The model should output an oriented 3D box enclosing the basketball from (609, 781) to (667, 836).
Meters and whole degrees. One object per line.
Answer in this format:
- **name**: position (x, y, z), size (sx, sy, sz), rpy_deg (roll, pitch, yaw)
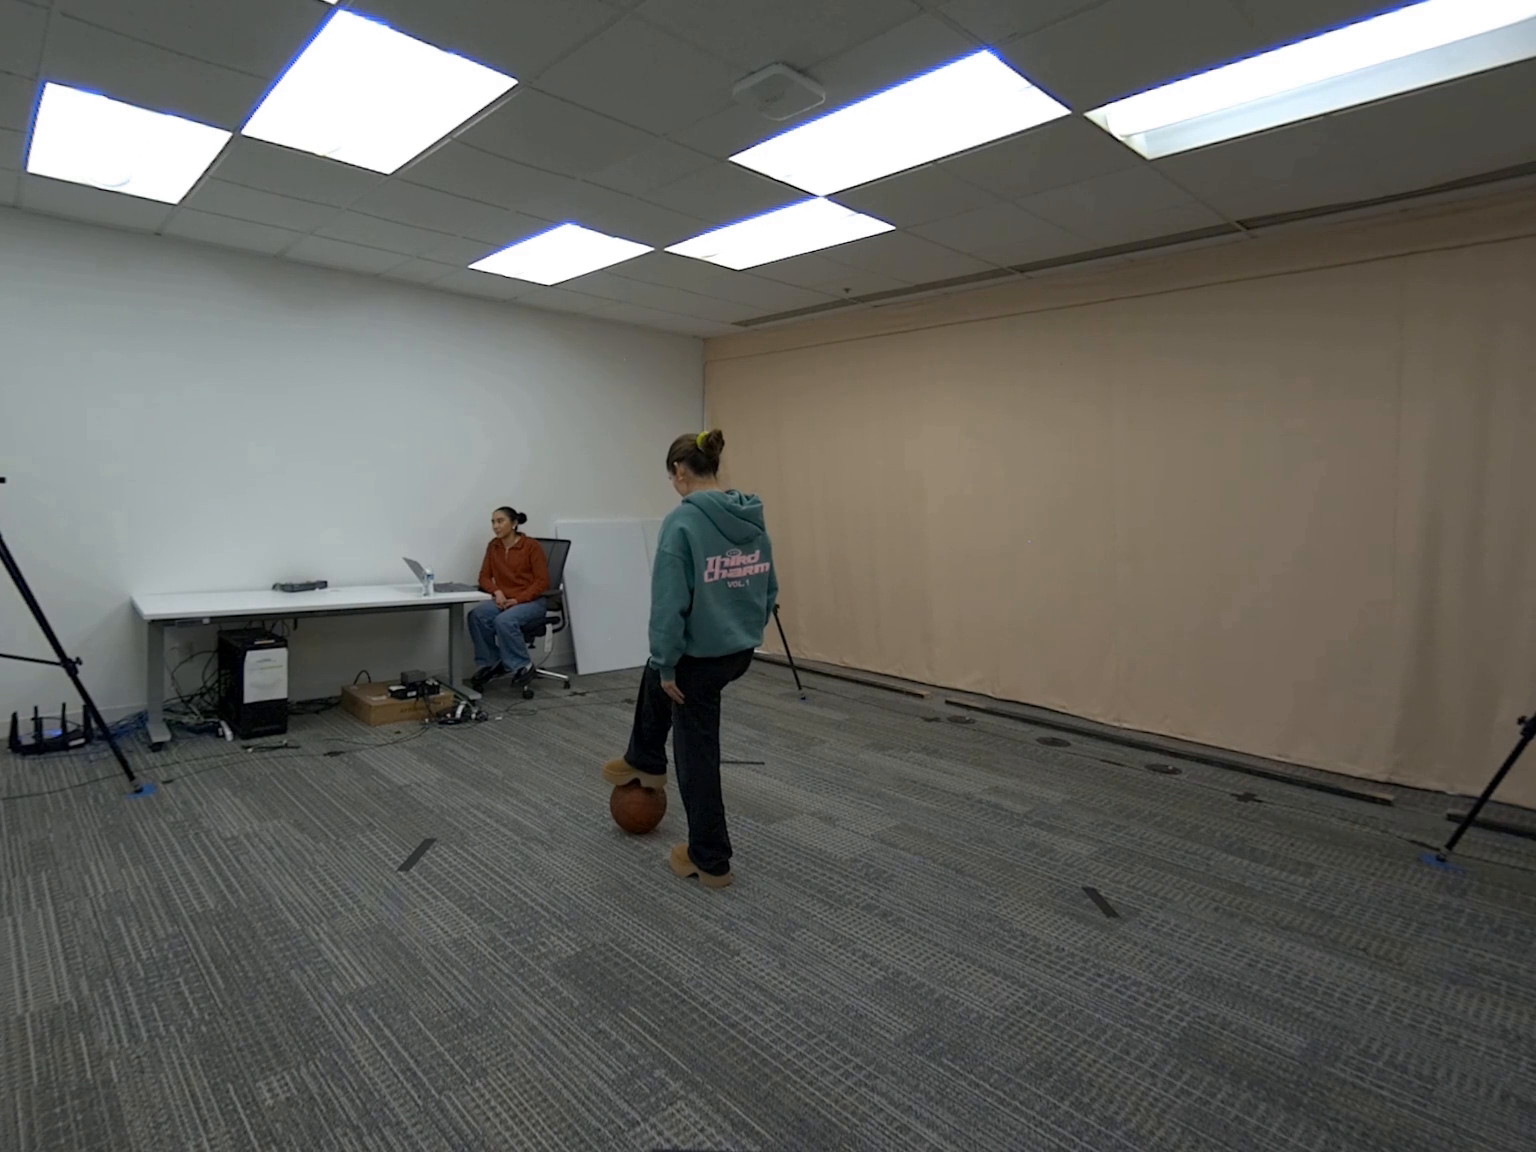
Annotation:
- **basketball**: position (-0.538, 0.939, 3.489), size (0.236, 0.235, 0.237), rpy_deg (1, 4, -1)
